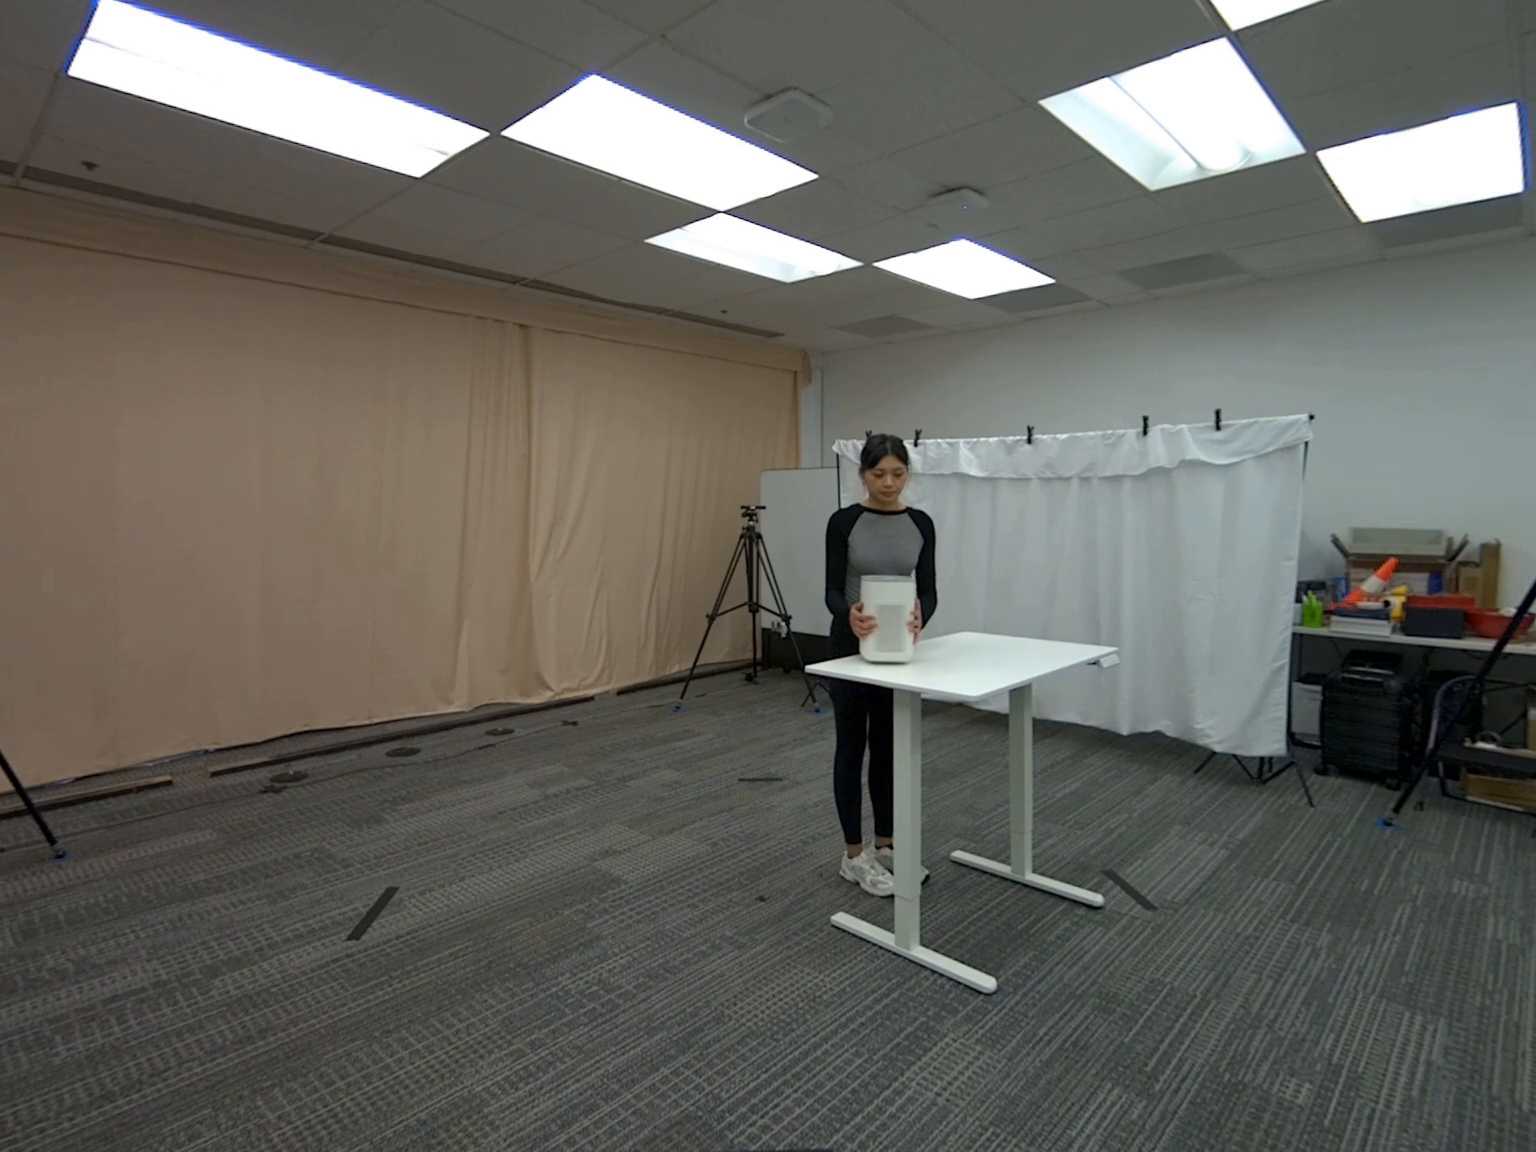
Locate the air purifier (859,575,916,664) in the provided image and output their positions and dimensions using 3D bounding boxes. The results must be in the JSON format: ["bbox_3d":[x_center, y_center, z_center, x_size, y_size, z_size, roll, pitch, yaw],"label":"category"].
[{"bbox_3d":[0.397,0.138,2.756,0.172,0.265,0.170,1,3,3],"label":"air purifier"}]
